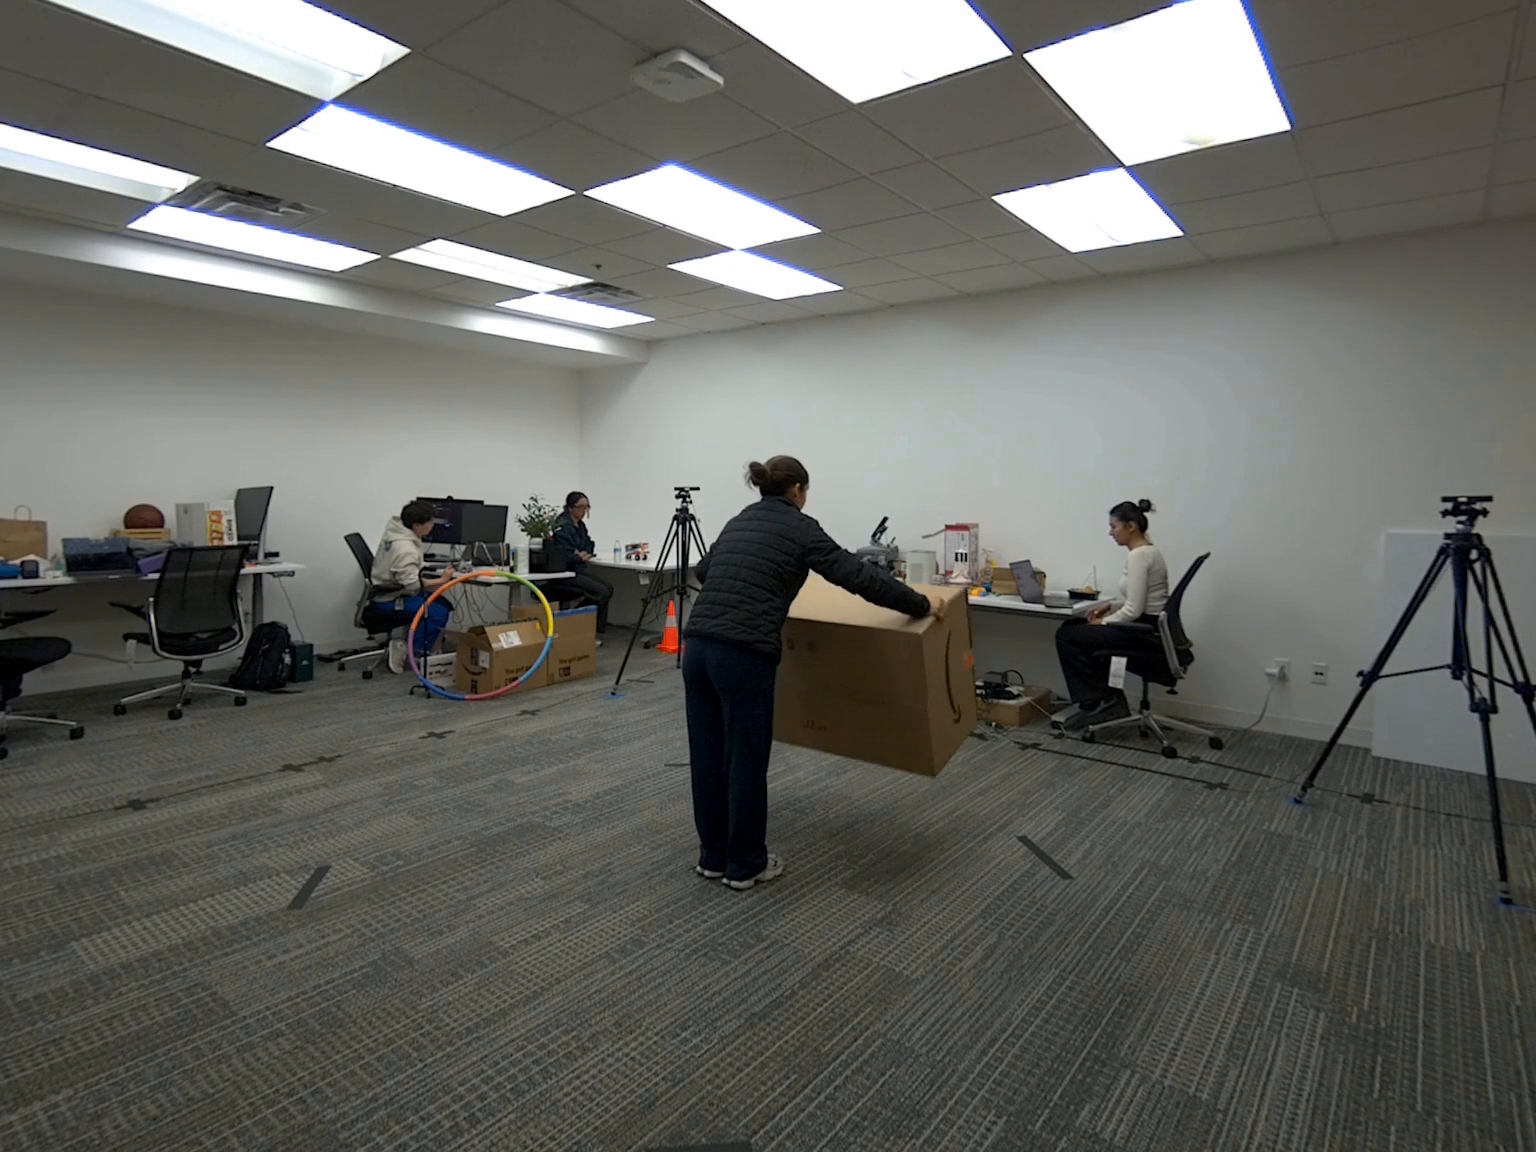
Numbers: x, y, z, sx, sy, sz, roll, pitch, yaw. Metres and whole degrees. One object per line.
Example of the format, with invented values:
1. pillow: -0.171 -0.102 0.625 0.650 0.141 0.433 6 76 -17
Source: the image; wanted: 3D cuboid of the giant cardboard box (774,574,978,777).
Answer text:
1. giant cardboard box: 0.269 0.327 3.438 1.061 0.573 0.440 5 23 37
